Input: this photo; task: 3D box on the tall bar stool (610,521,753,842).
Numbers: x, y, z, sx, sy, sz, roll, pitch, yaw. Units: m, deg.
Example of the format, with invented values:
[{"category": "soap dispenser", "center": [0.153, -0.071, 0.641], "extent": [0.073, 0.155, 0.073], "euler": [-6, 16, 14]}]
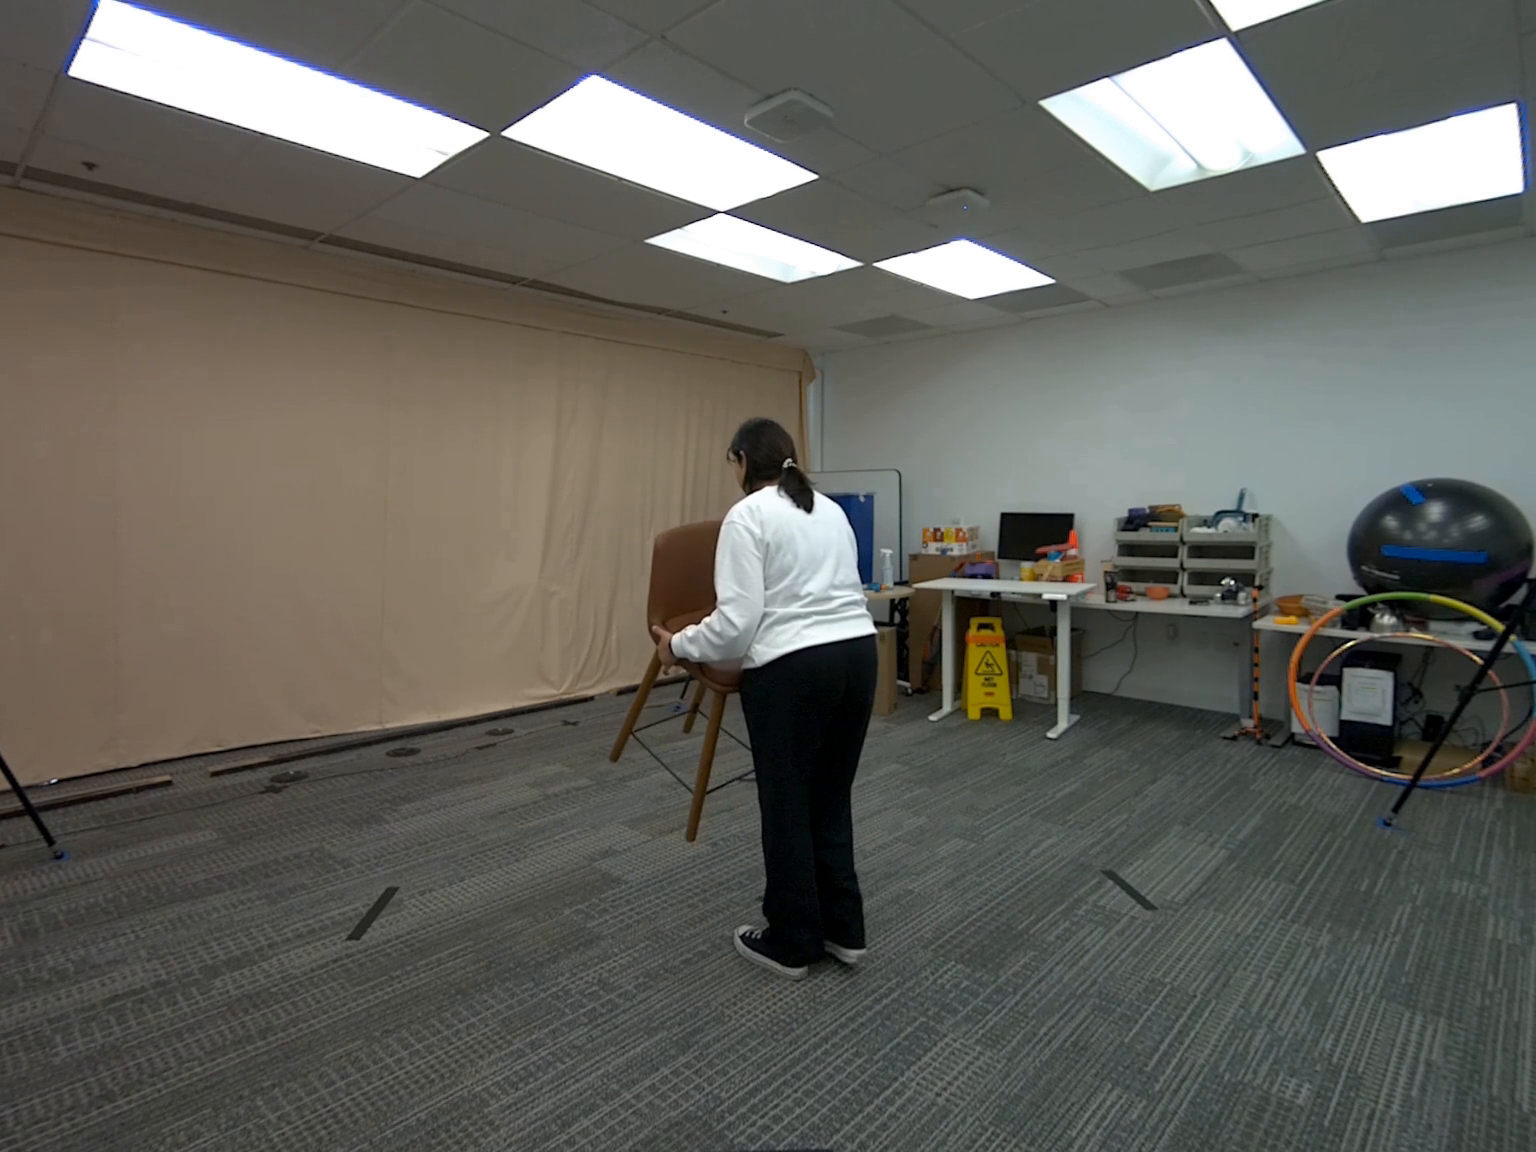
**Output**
[{"category": "tall bar stool", "center": [-0.158, 0.325, 2.746], "extent": [0.484, 0.883, 0.444], "euler": [30, 26, 35]}]
